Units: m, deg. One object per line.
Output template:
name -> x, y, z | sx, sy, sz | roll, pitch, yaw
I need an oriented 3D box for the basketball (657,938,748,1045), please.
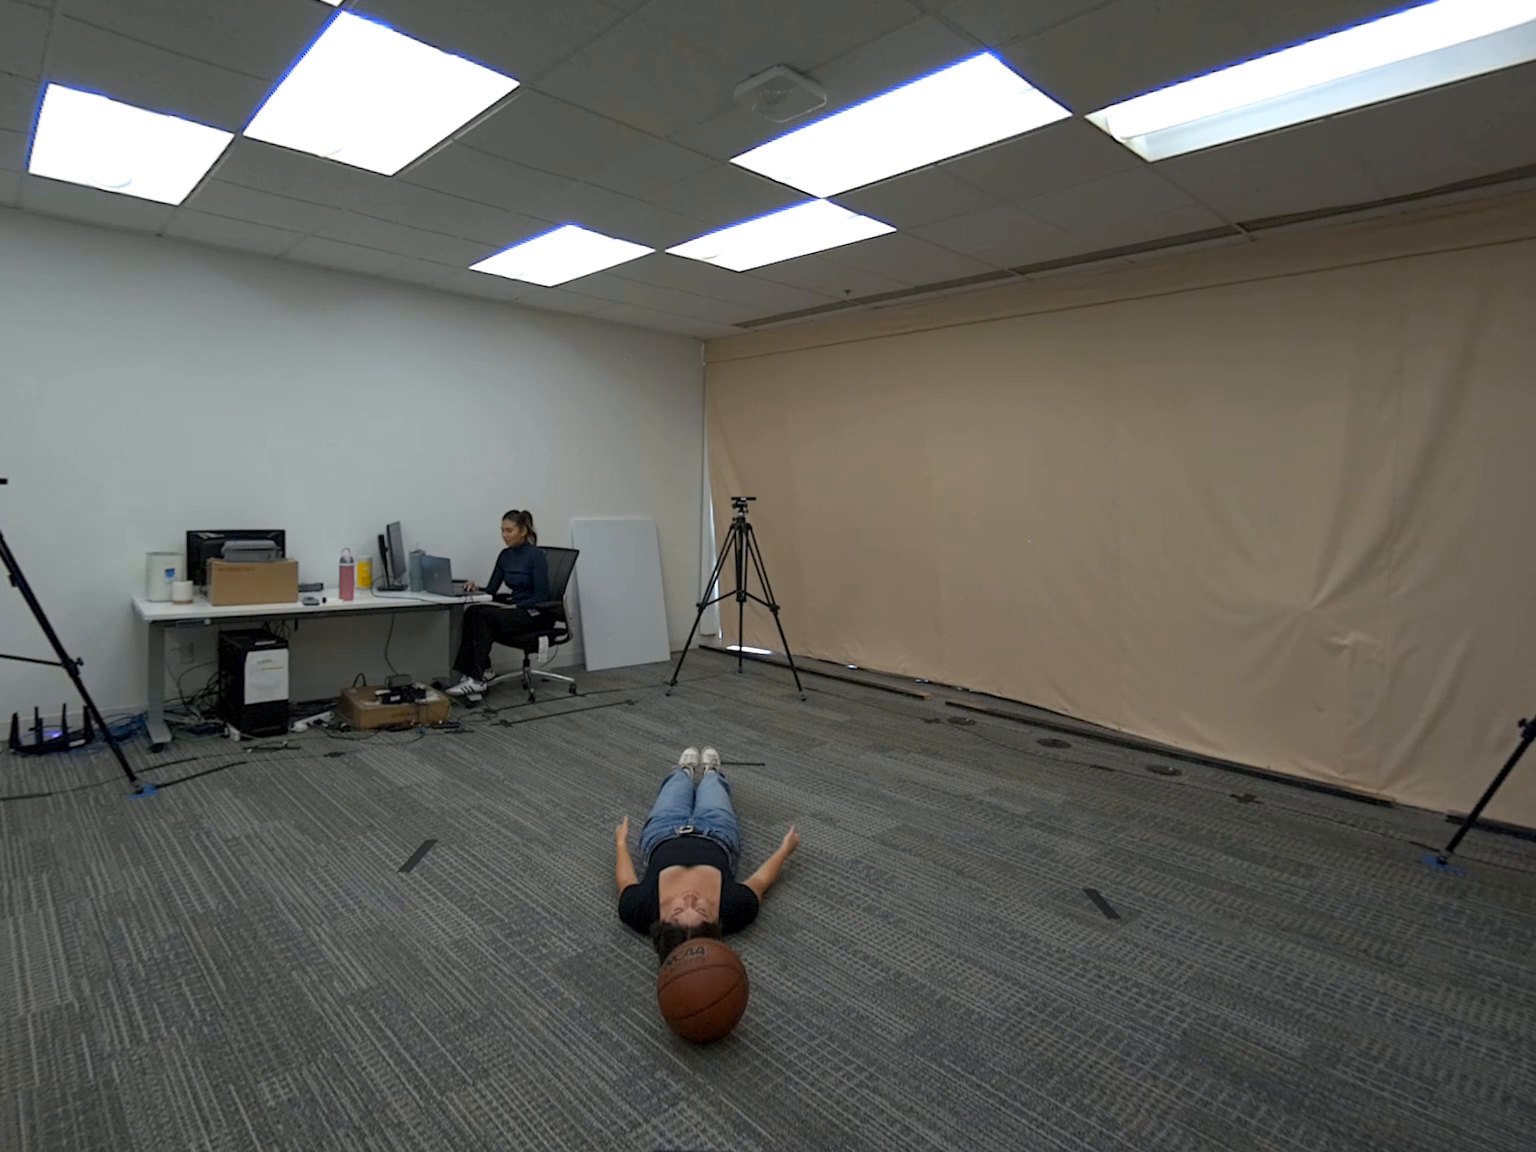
basketball -> -0.170, 1.069, 2.176 | 0.236, 0.235, 0.237 | 1, 4, -1
